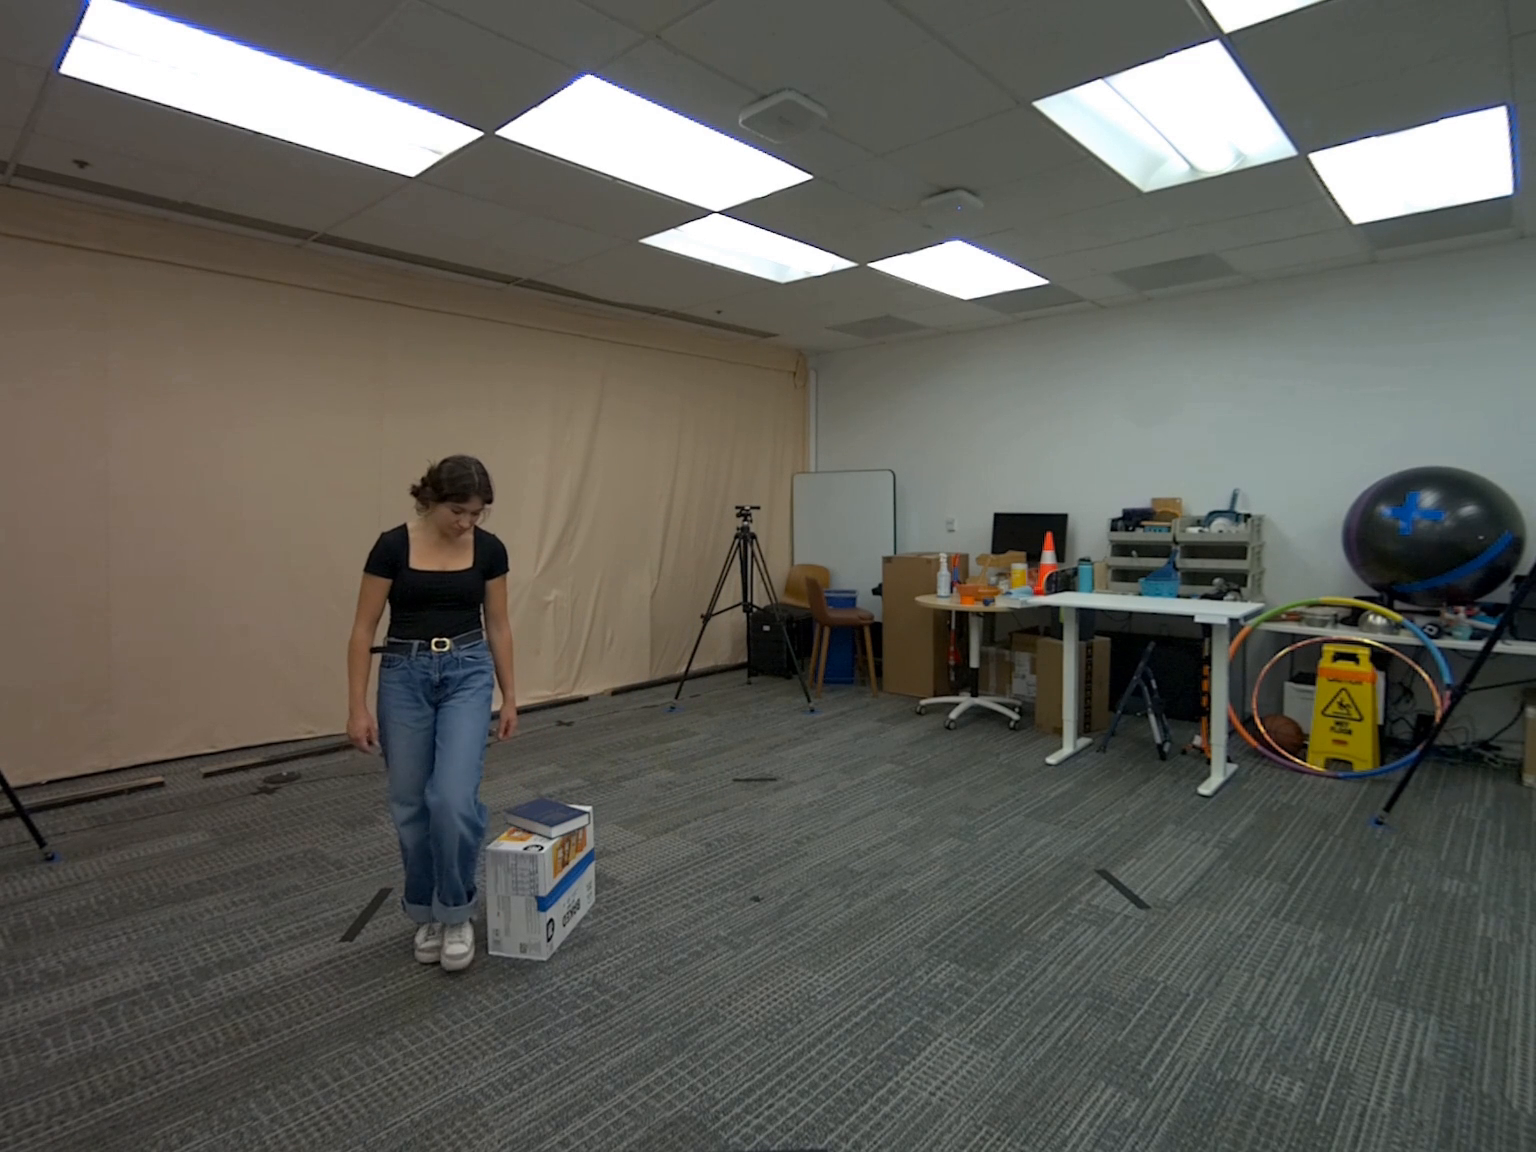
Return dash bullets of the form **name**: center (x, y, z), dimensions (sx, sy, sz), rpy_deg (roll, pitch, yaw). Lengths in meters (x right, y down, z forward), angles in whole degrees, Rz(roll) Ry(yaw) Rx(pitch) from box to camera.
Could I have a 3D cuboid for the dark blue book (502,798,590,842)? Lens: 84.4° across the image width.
- **dark blue book**: center (-0.736, 0.803, 2.801), dimensions (0.253, 0.045, 0.159), rpy_deg (1, 5, 37)
